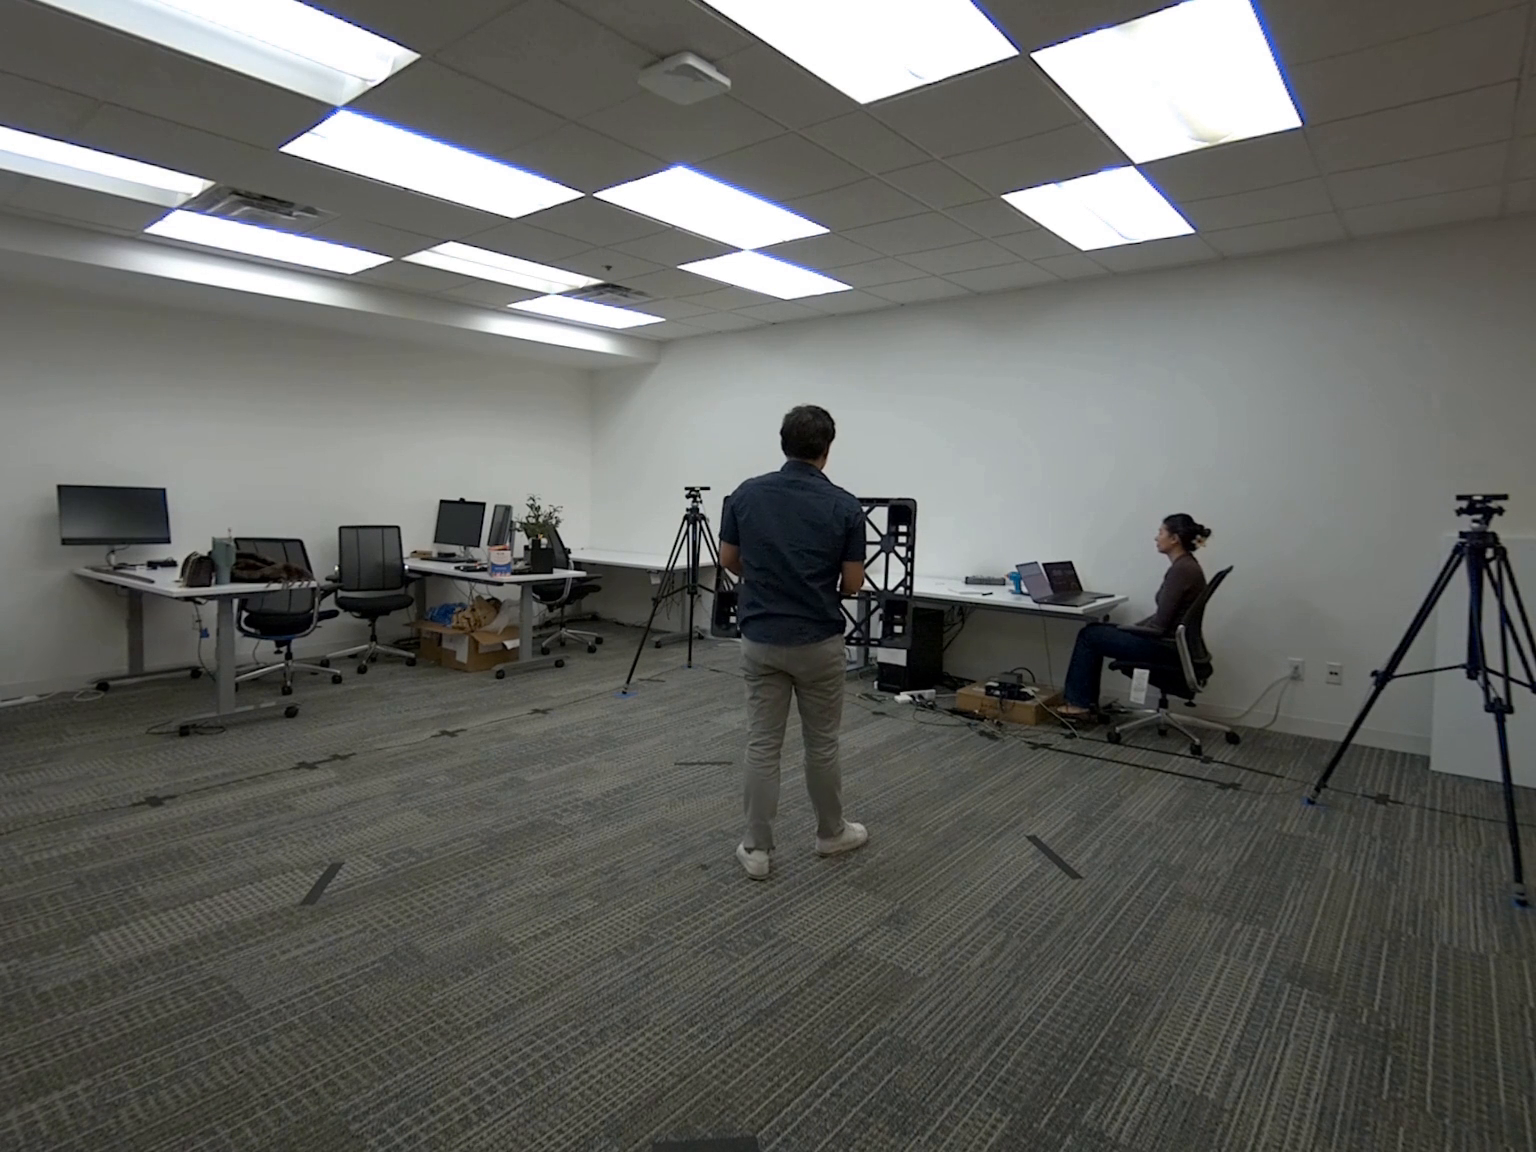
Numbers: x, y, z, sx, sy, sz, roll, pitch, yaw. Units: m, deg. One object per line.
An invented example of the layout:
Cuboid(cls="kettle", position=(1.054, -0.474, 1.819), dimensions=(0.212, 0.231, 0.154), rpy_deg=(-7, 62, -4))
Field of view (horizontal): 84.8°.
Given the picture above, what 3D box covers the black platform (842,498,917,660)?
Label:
Cuboid(cls="black platform", position=(0.185, -0.026, 3.473), dimensions=(0.819, 0.612, 0.139), rpy_deg=(2, -14, 16))
